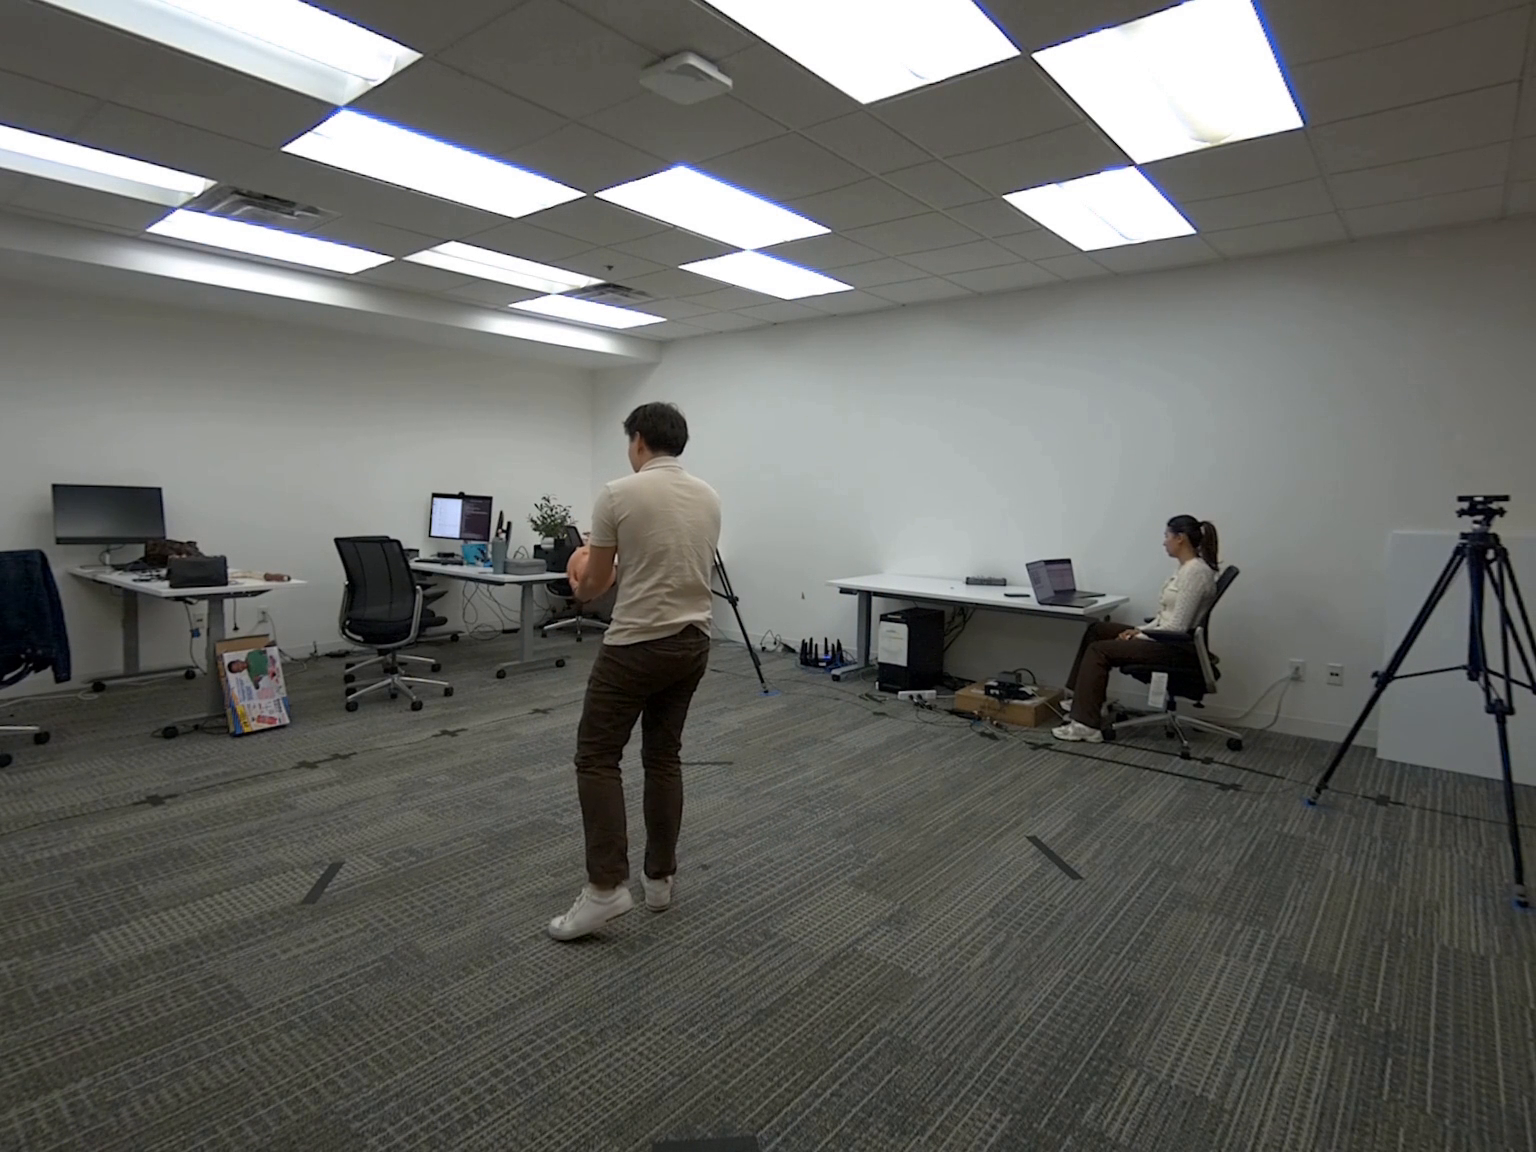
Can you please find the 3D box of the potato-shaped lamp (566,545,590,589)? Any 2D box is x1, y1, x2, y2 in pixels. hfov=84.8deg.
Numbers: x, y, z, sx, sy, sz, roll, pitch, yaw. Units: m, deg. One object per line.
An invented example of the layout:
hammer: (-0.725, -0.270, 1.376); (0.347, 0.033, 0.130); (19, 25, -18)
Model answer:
potato-shaped lamp: (-0.649, -0.021, 3.100); (0.168, 0.165, 0.202); (23, -3, -18)
